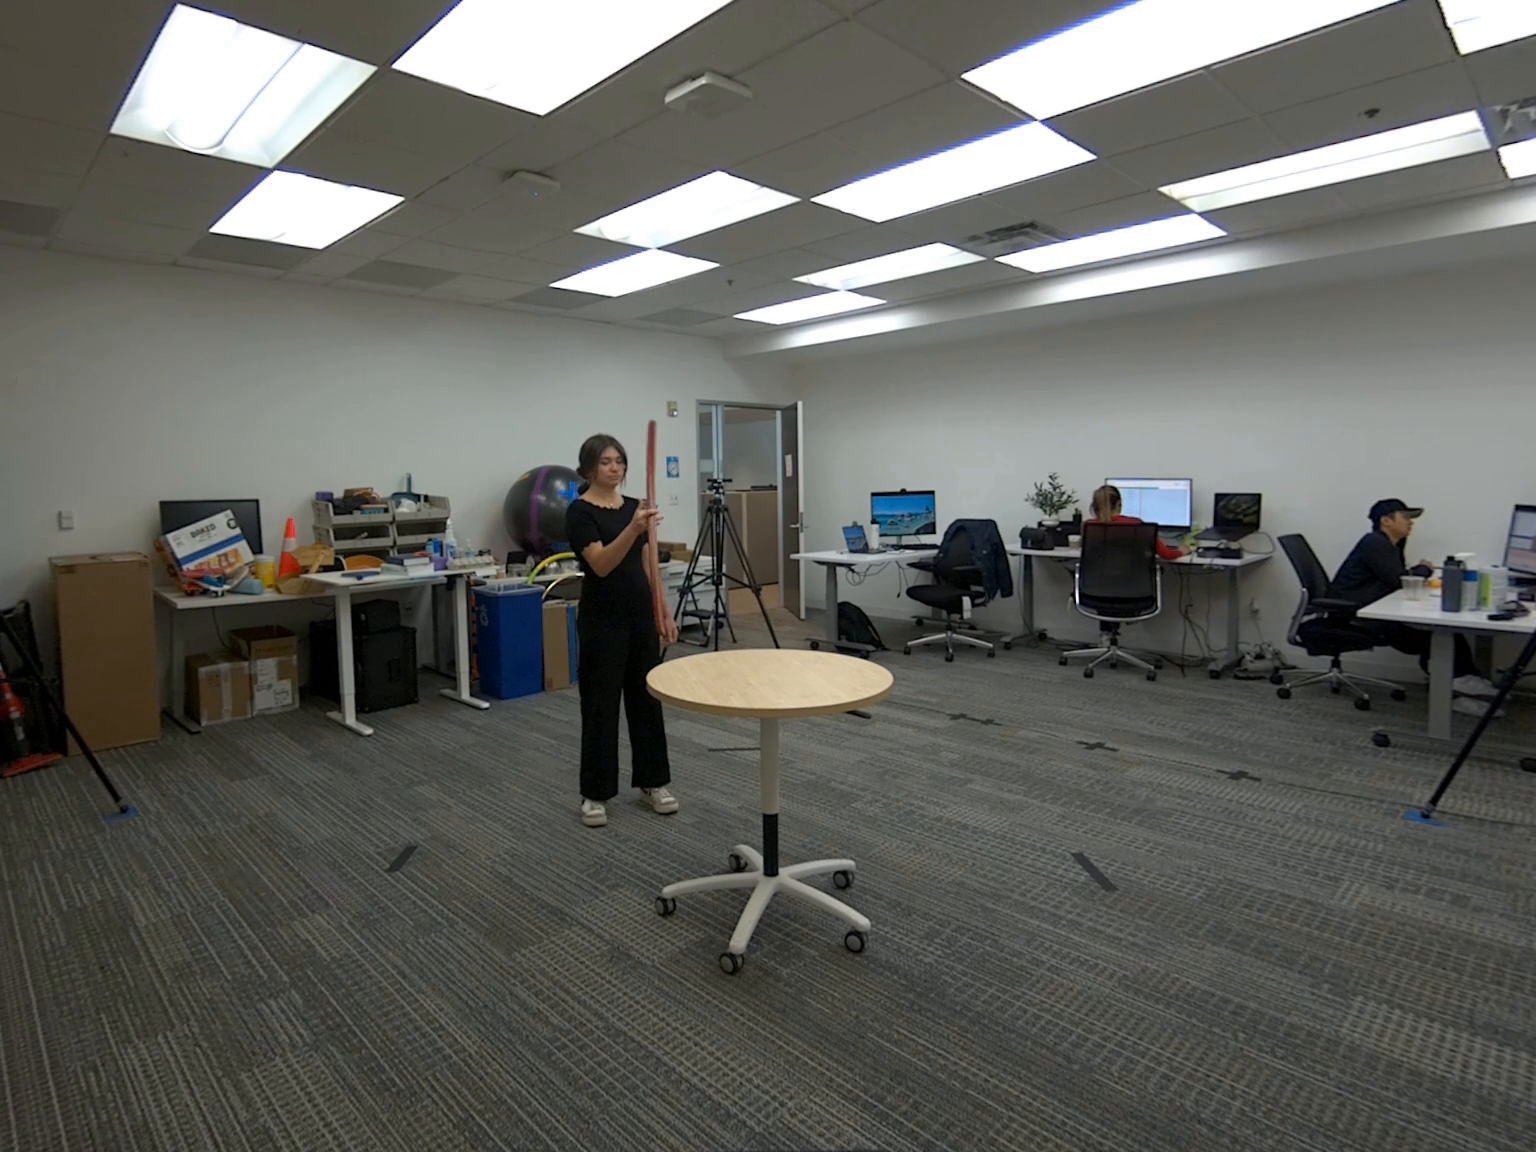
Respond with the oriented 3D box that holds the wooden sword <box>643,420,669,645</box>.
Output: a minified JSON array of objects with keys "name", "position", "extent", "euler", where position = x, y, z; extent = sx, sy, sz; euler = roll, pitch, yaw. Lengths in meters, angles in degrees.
[{"name":"wooden sword","position":[-0.441,-0.222,3.218],"extent":[0.024,1.053,0.050],"euler":[2,-32,-15]}]
